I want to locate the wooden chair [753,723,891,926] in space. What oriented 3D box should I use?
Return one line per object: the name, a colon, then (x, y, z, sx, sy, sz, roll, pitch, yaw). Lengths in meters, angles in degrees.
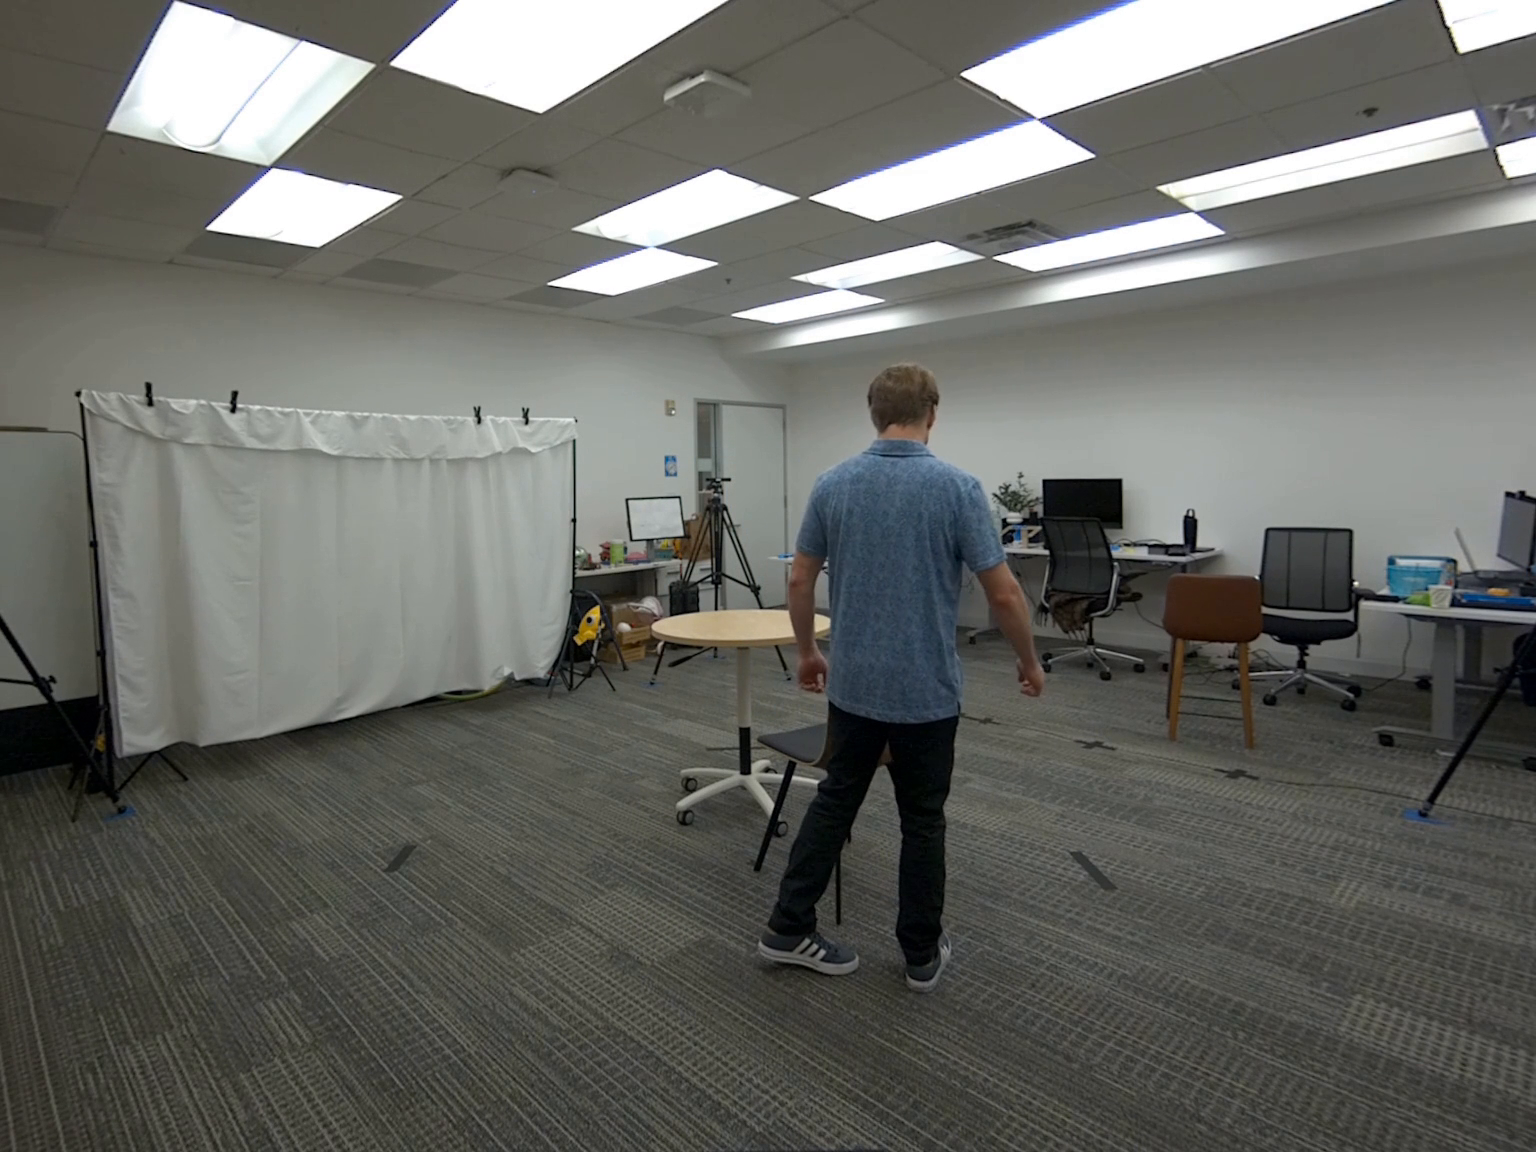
wooden chair: (0.259, 0.629, 2.944, 0.466, 0.871, 0.540, -4, 10, -36)
